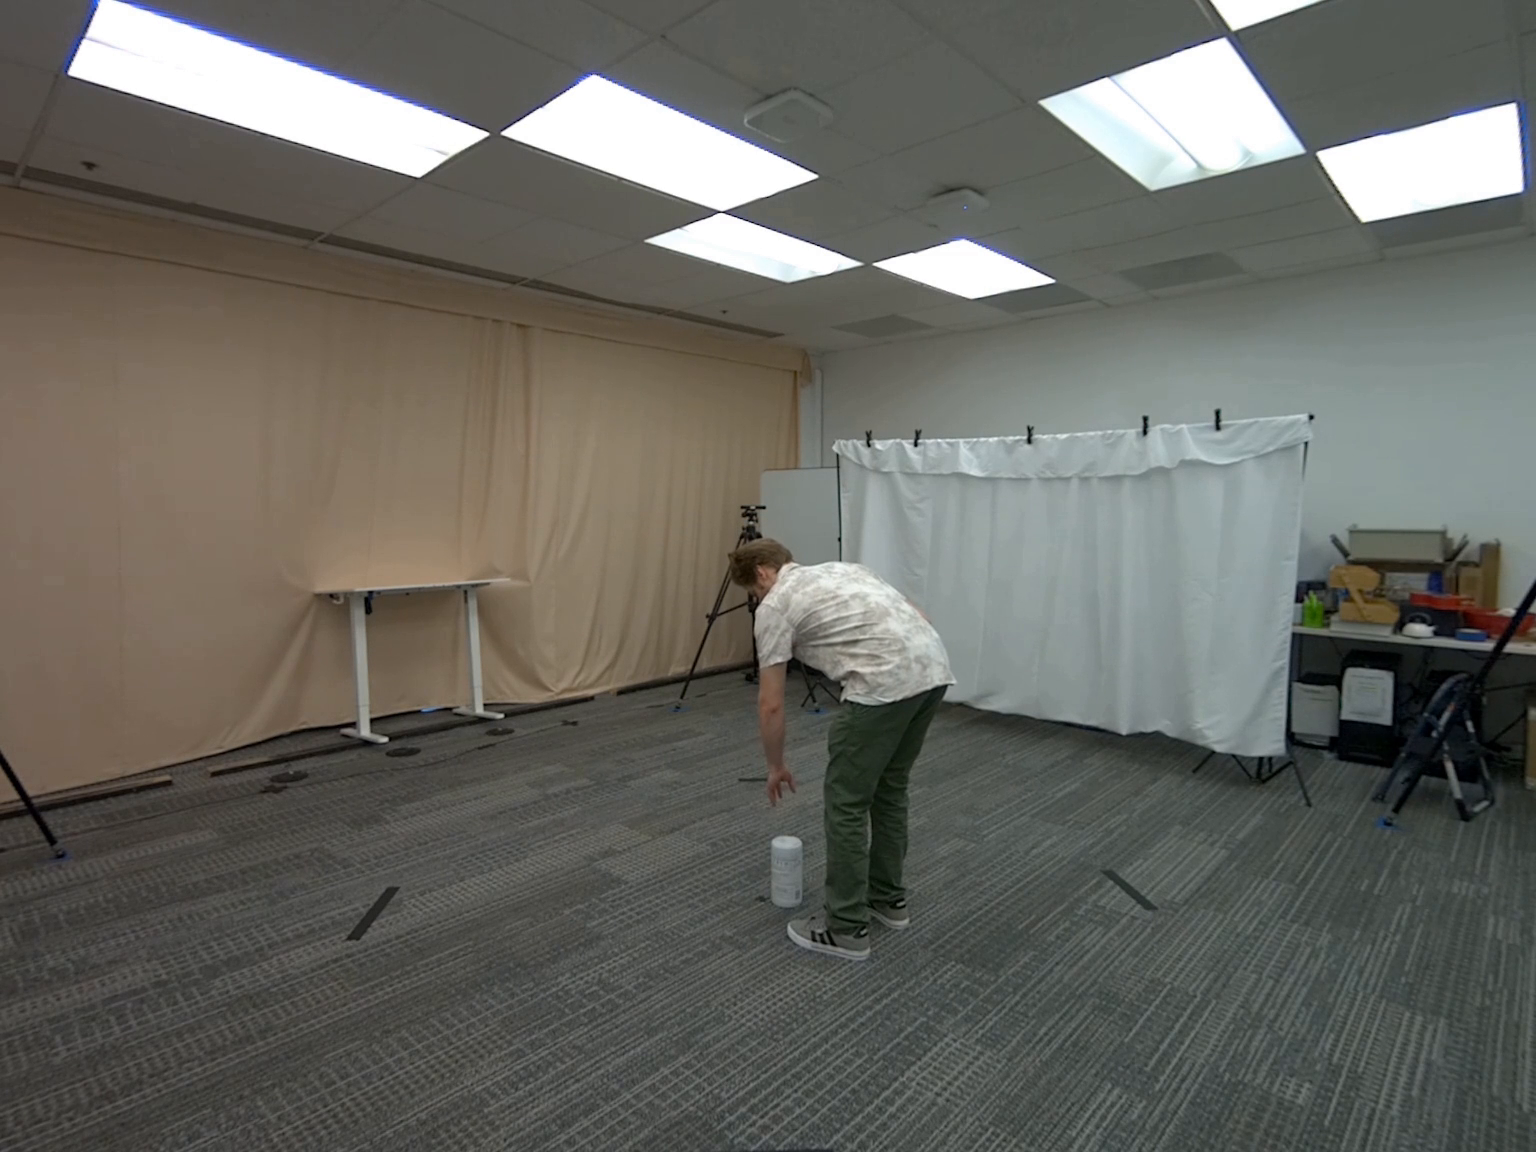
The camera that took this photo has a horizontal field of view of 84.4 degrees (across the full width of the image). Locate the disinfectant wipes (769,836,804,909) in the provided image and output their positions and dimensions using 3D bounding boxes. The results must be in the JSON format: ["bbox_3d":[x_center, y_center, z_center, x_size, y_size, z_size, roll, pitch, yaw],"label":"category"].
[{"bbox_3d":[0.071,1.041,2.955,0.118,0.217,0.118,0,4,-2],"label":"disinfectant wipes"}]
